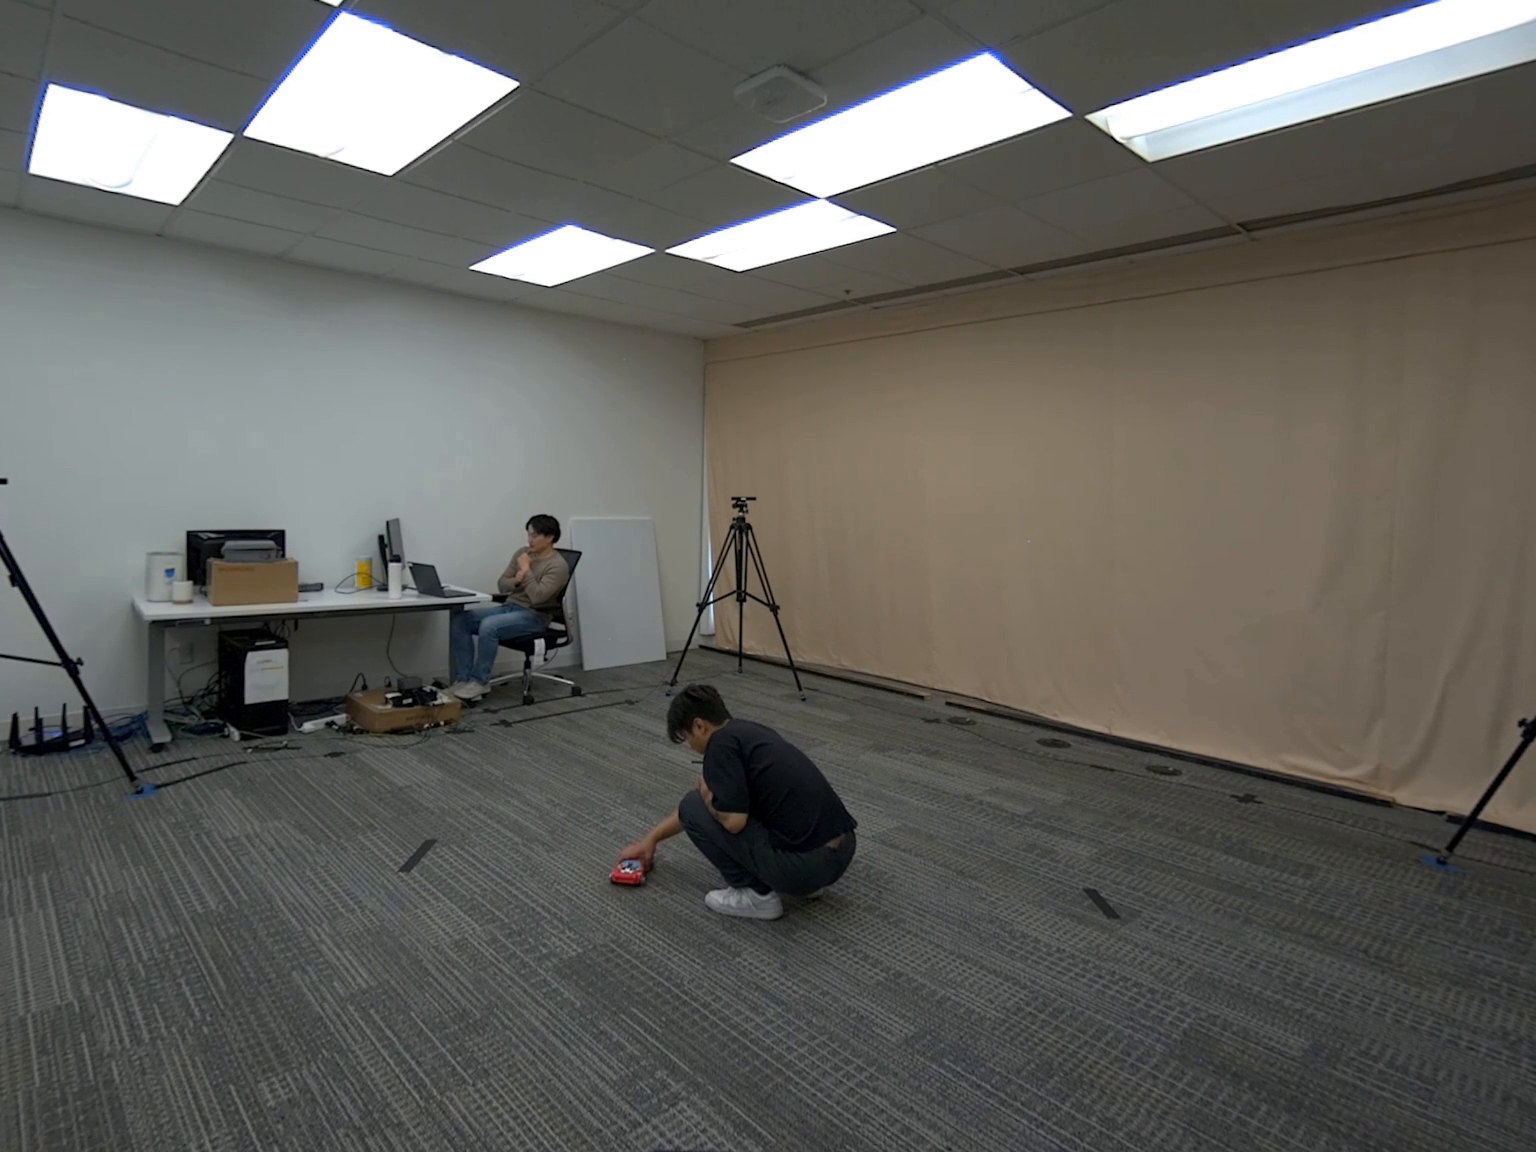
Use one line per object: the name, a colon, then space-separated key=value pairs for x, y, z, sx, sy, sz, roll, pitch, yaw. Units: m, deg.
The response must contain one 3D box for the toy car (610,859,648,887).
toy car: x=-0.491 y=1.062 z=3.113 sx=0.131 sy=0.082 sz=0.255 roll=1 pitch=15 yaw=7
